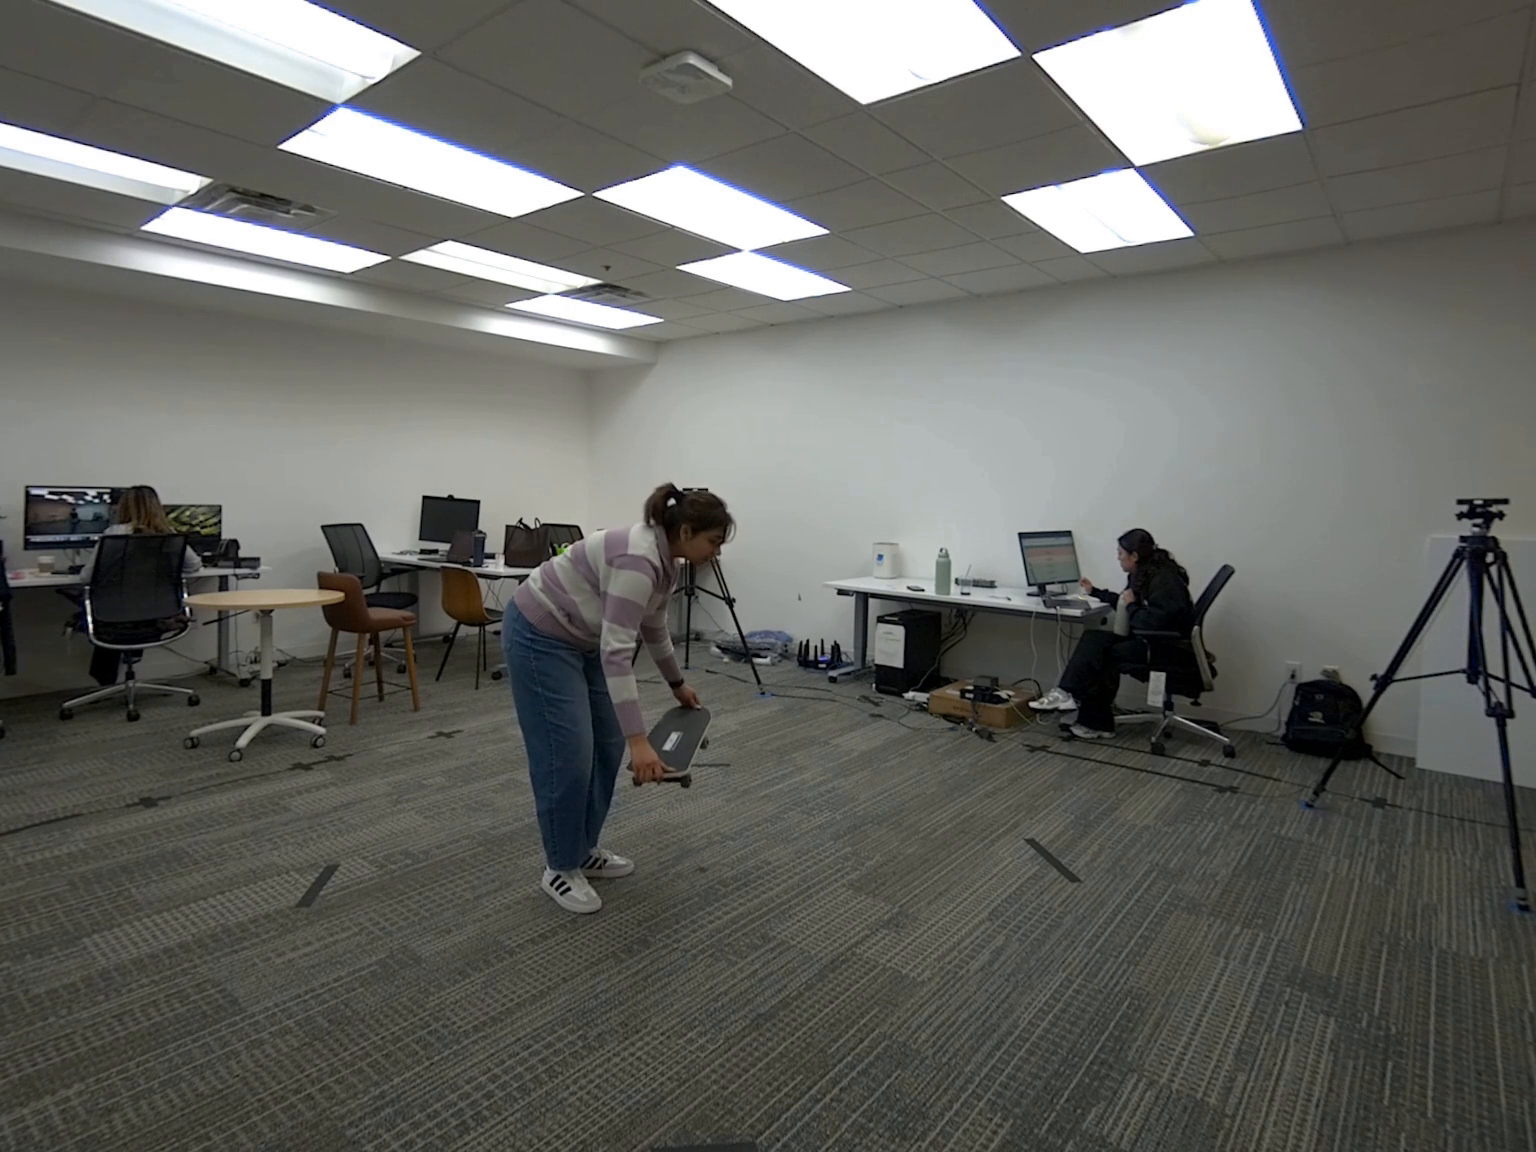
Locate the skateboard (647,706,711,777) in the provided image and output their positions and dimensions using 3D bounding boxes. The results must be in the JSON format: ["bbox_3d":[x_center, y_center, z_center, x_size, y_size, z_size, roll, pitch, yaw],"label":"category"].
[{"bbox_3d":[-0.336,0.586,2.909,0.194,0.110,0.785,0,7,3],"label":"skateboard"}]
